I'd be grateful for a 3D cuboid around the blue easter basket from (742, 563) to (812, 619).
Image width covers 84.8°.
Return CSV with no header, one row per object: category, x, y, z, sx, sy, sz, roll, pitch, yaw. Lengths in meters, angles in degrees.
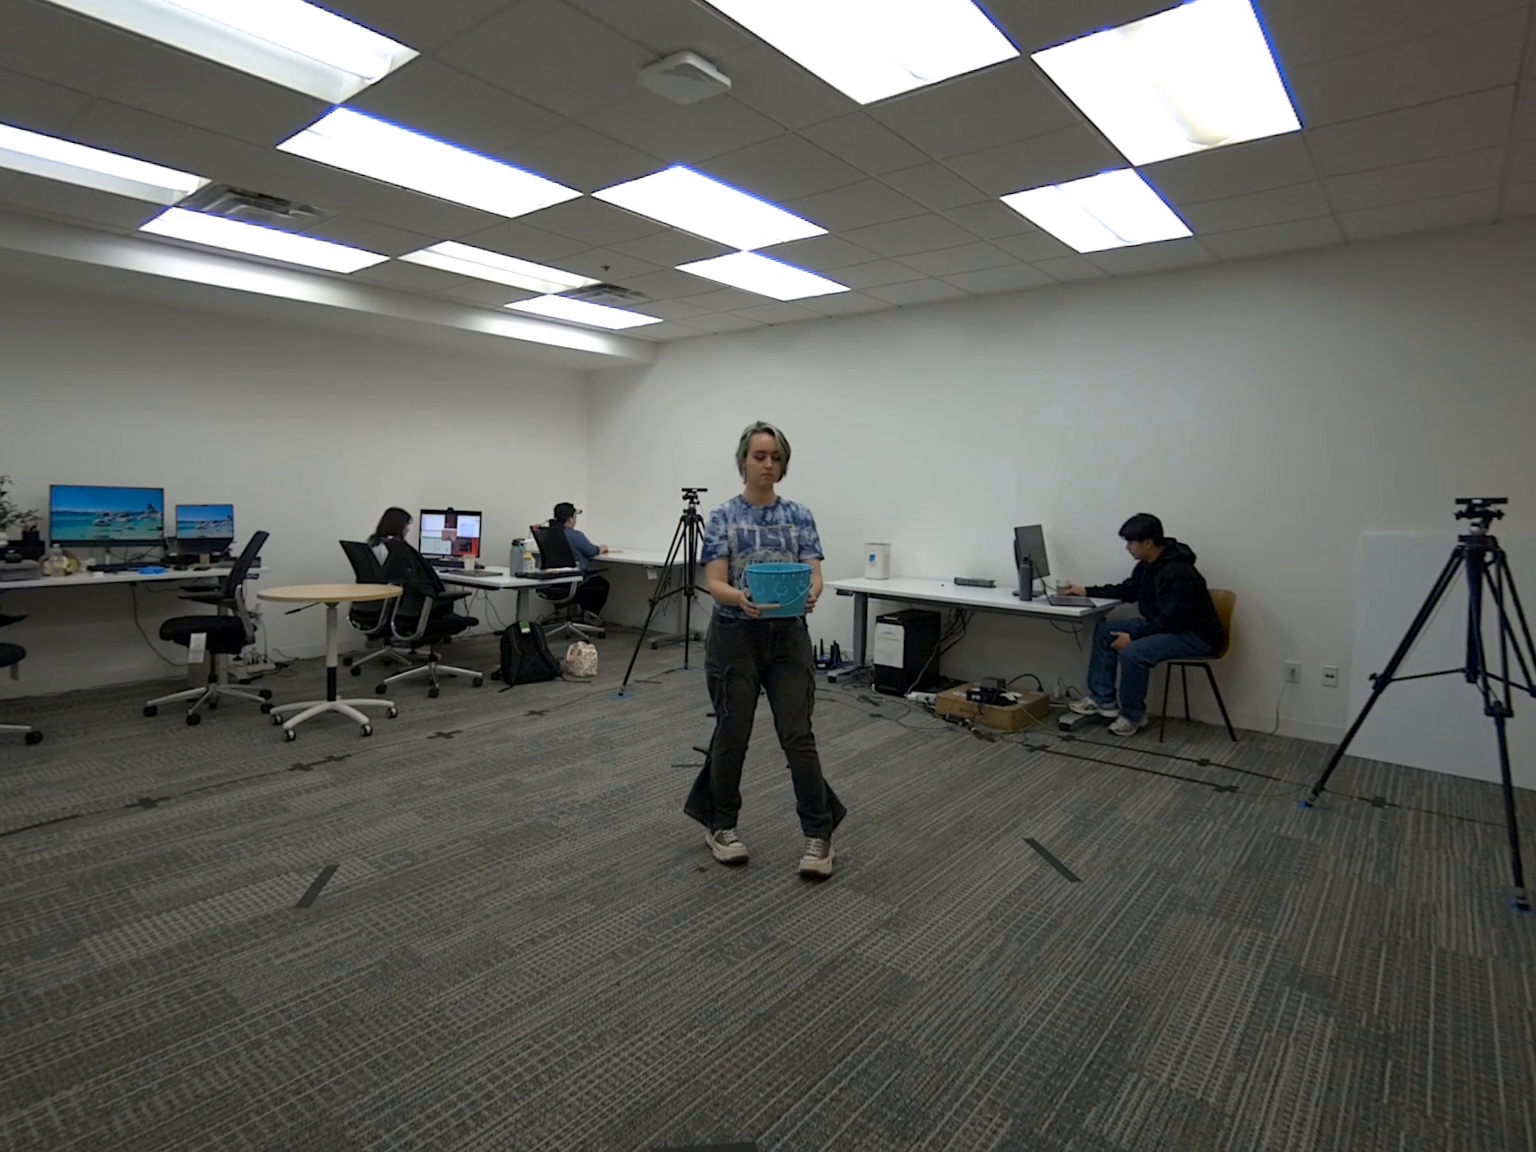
blue easter basket,0.022,0.045,2.850,0.243,0.155,0.245,0,6,-2
